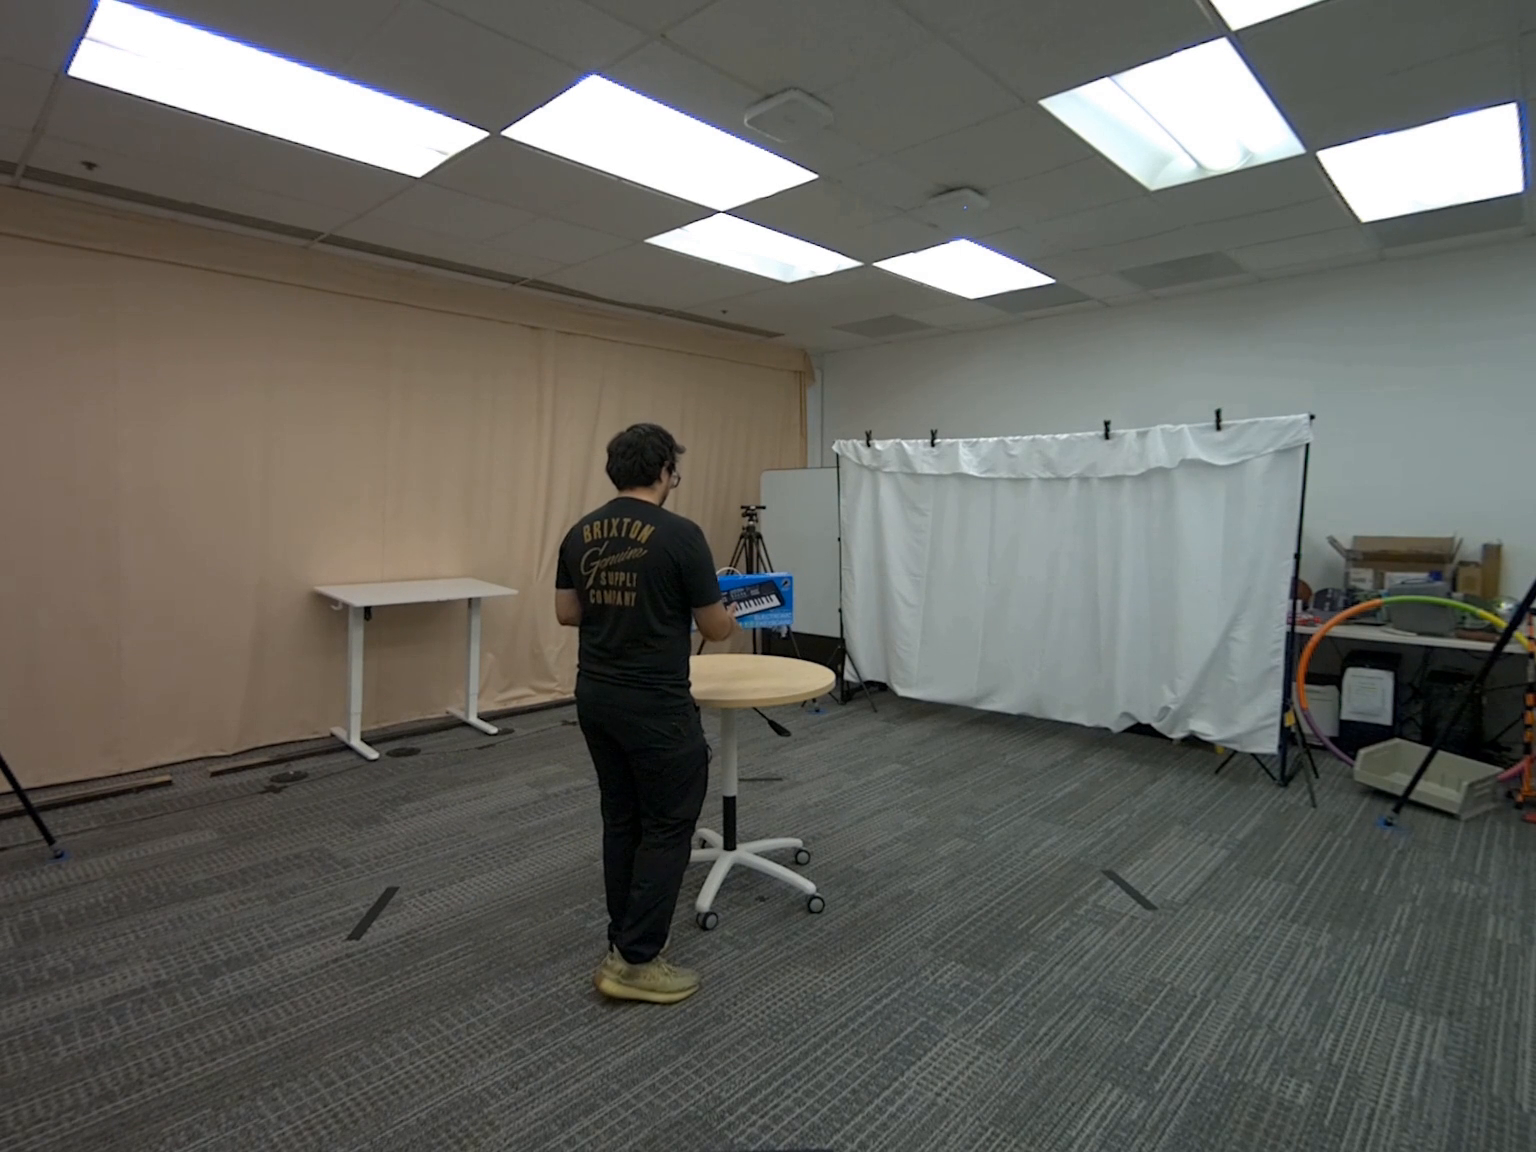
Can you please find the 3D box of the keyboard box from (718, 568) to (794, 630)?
[{"bbox_3d":[-0.131,0.090,2.805,0.432,0.175,0.060,-3,11,-10],"label":"keyboard box"}]
